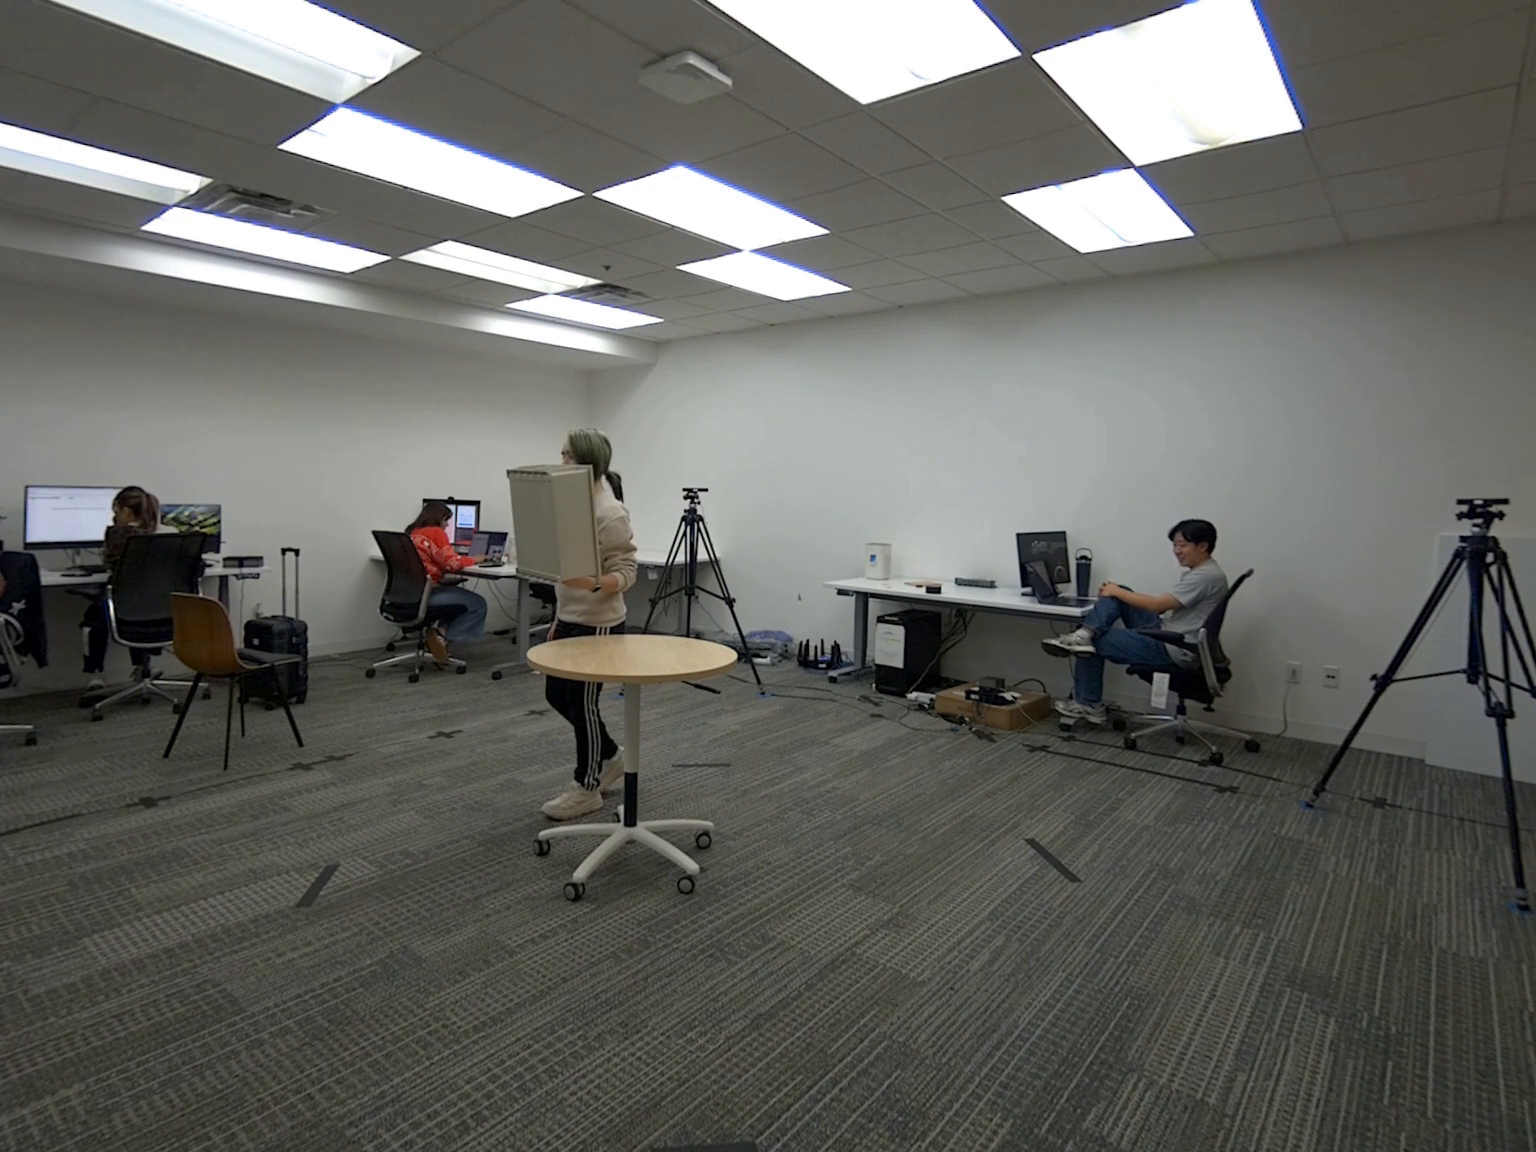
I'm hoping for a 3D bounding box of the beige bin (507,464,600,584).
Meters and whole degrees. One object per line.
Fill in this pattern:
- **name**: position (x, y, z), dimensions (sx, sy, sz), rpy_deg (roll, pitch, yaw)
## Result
- **beige bin**: position (-0.834, -0.209, 3.210), dimensions (0.184, 0.418, 0.391), rpy_deg (-11, 13, -42)
